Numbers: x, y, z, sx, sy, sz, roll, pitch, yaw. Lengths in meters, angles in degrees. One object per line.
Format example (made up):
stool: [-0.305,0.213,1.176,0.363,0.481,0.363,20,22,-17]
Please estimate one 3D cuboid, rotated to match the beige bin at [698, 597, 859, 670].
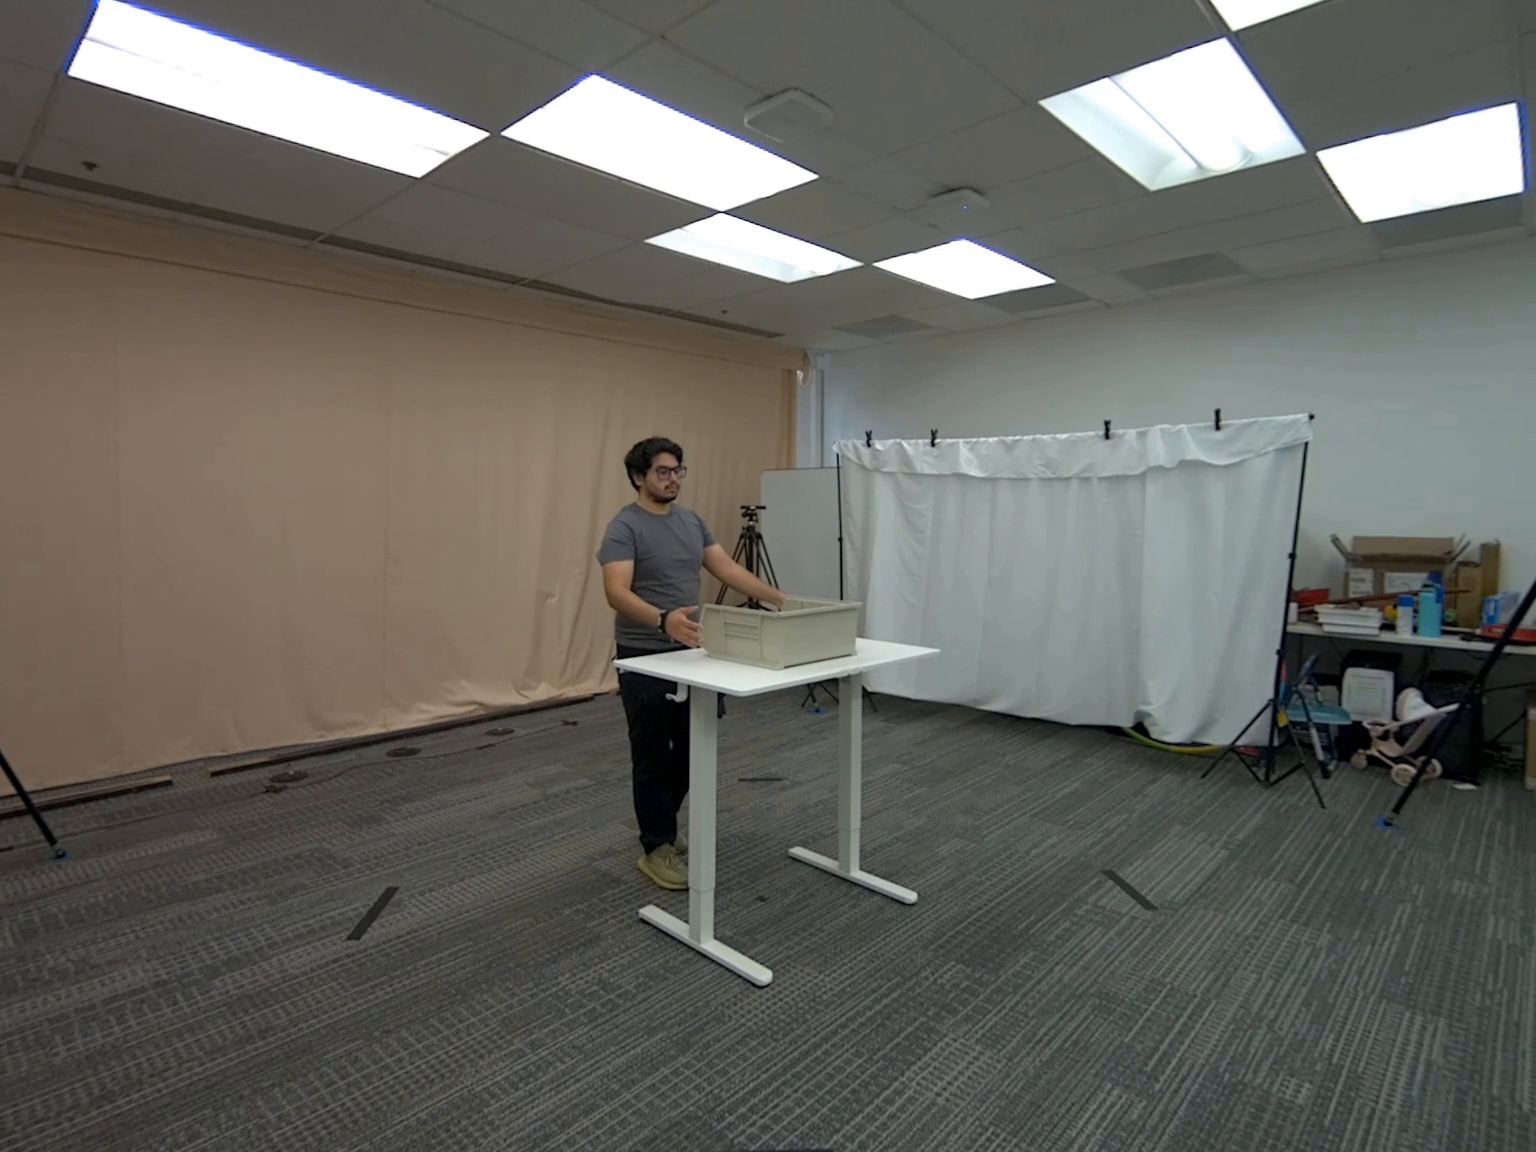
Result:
beige bin: [0.047,0.186,2.850,0.409,0.188,0.390,-3,6,-44]
